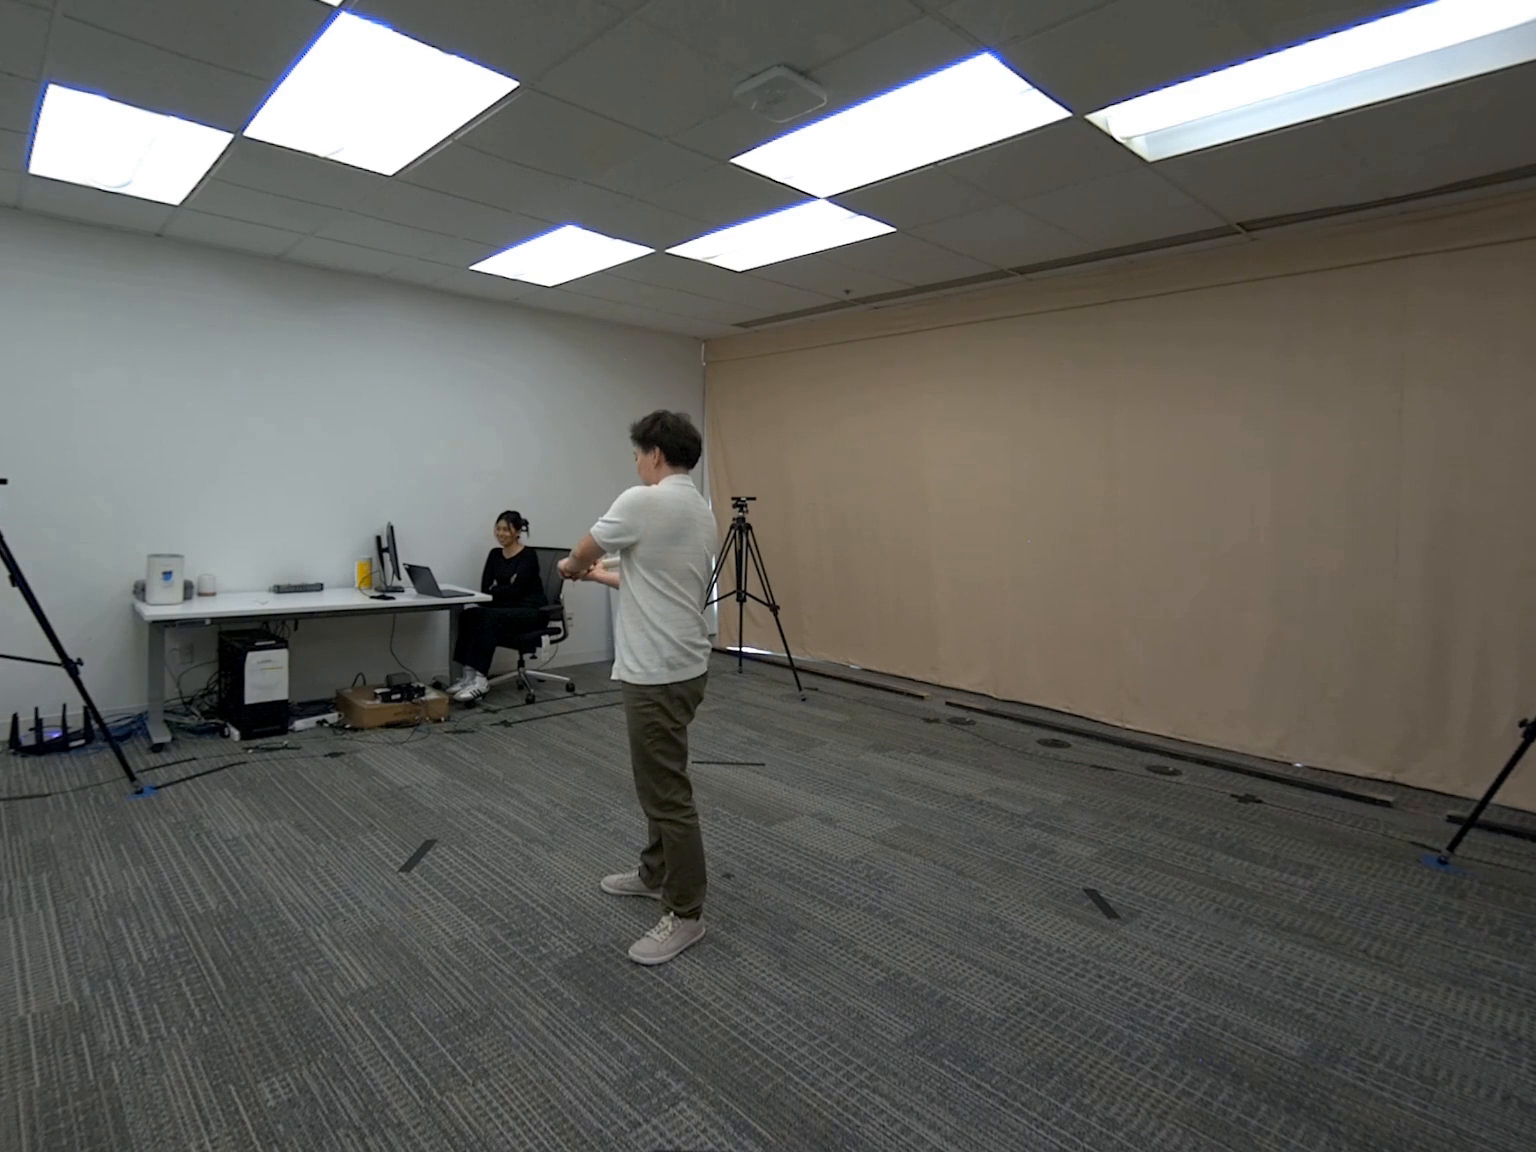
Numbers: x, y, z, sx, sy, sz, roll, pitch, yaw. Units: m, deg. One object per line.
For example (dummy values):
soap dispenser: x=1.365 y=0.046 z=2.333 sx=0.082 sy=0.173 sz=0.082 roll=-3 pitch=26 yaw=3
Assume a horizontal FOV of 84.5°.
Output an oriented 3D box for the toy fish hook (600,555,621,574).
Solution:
toy fish hook: x=-0.665 y=-0.035 z=3.196 sx=0.228 sy=0.048 sz=0.499 roll=-13 pitch=2 yaw=28
